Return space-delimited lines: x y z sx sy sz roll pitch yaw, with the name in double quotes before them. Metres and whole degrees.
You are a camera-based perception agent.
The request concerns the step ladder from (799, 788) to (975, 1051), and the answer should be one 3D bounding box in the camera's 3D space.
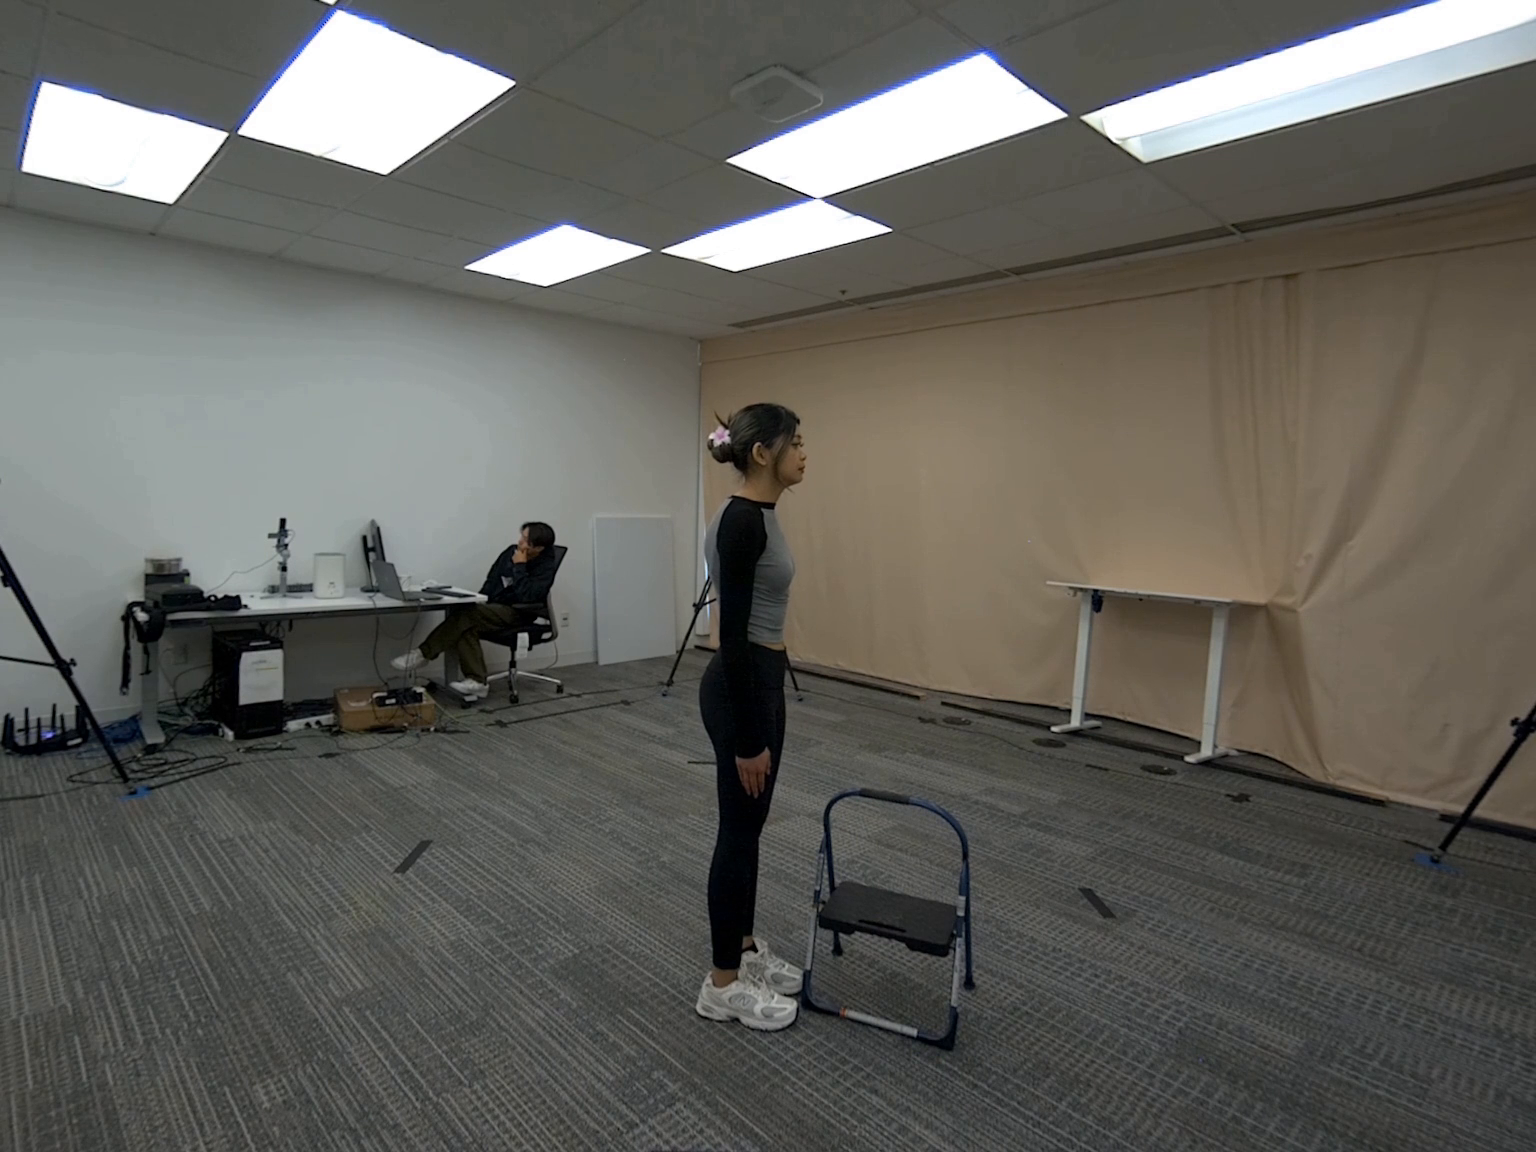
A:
"step ladder" 0.345 0.889 2.360 0.438 0.605 0.344 2 3 23
